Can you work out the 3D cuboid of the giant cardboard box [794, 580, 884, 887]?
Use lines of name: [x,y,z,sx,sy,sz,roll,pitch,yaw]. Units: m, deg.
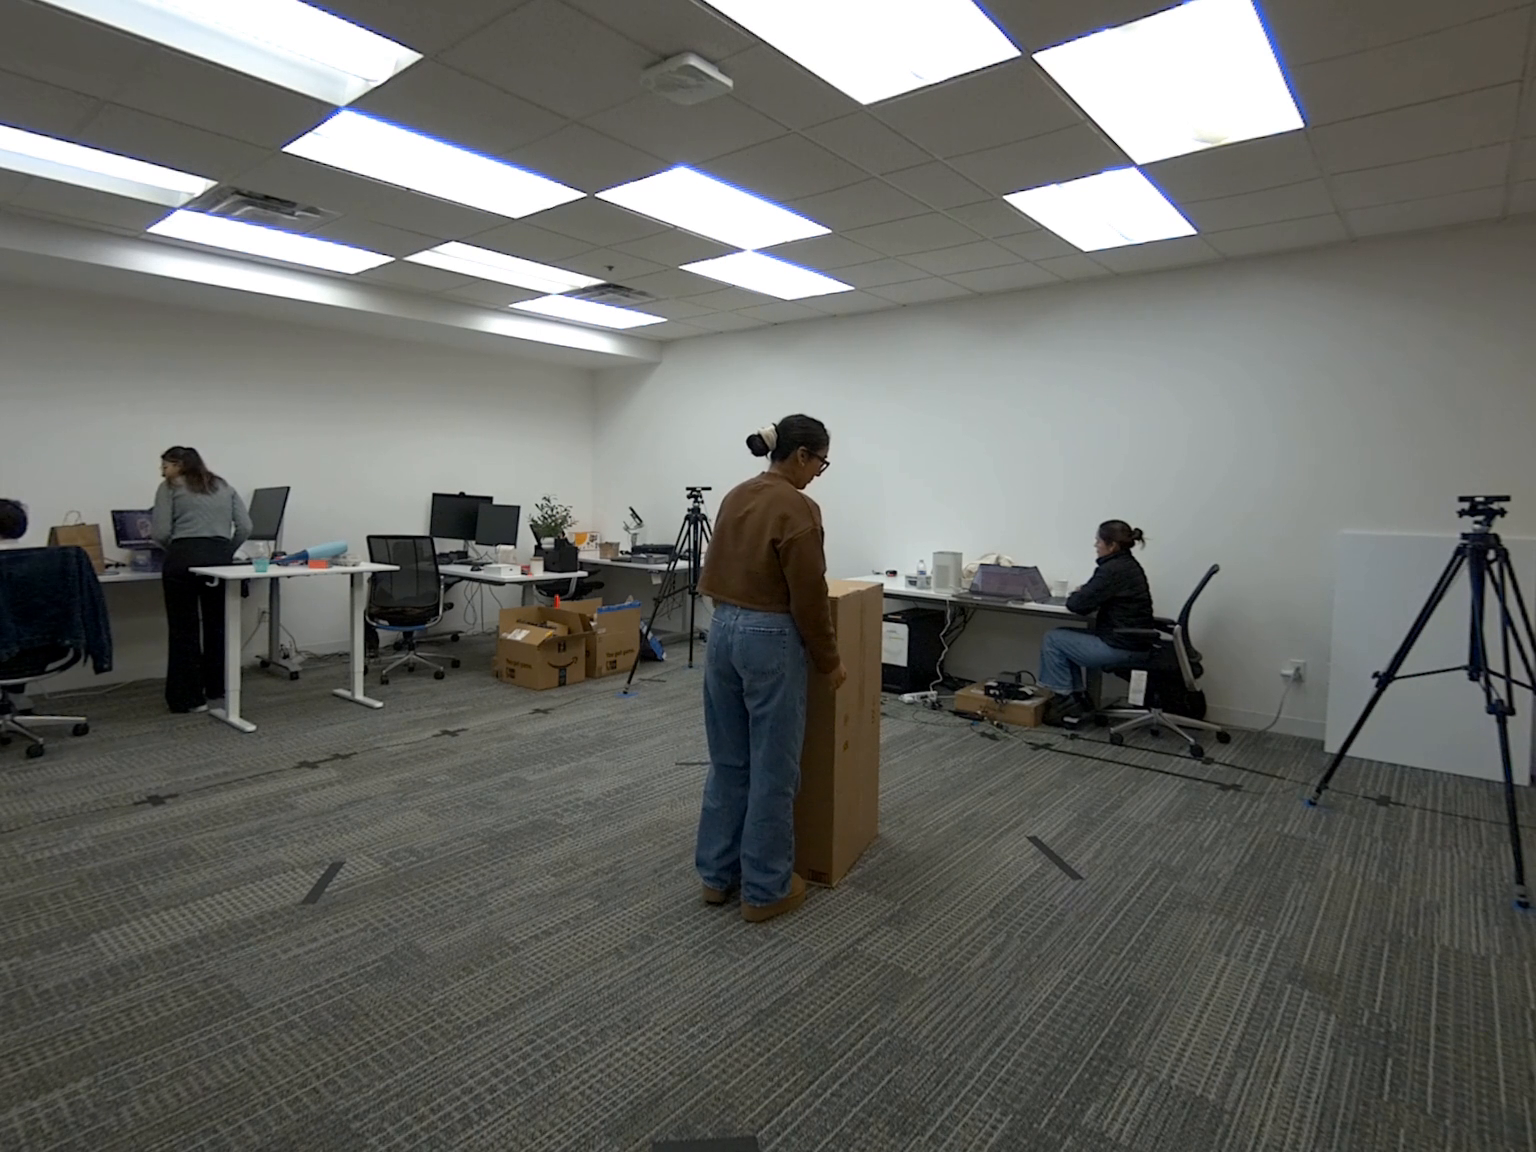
giant cardboard box: [0.149,0.546,3.281,0.437,1.023,0.564,2,4,25]
